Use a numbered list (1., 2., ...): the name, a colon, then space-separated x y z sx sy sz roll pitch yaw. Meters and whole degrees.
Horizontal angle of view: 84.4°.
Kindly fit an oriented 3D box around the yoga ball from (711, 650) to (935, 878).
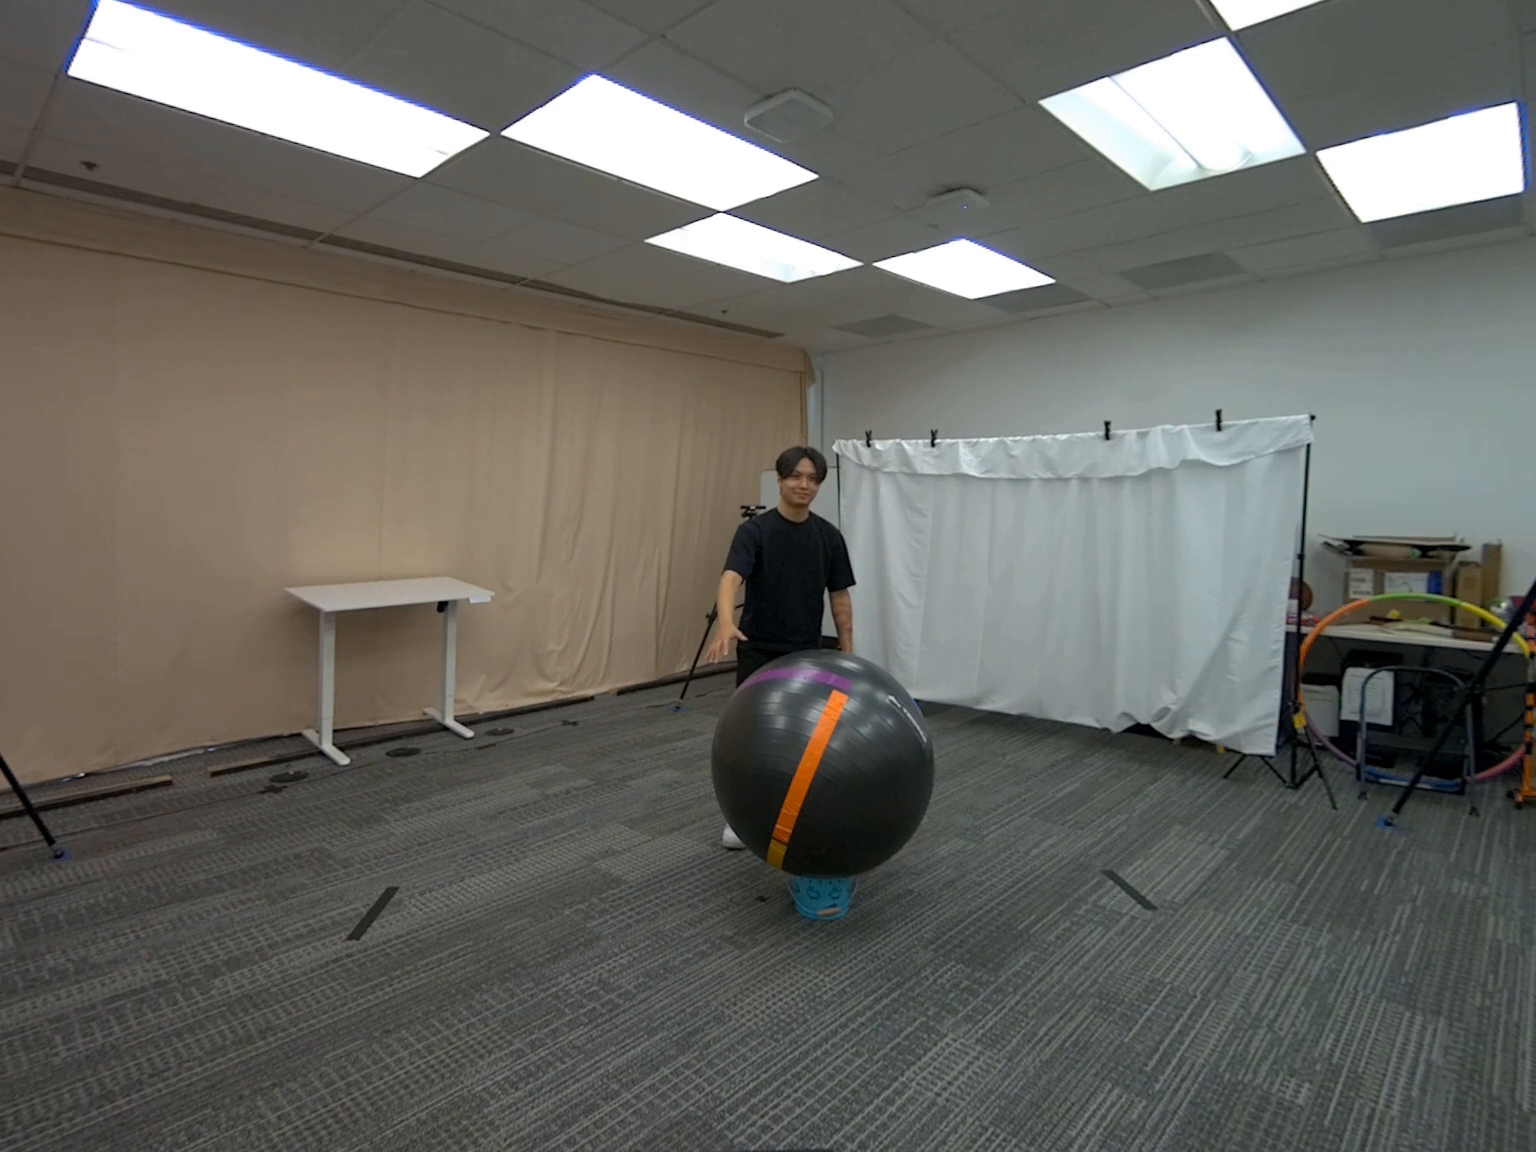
1. yoga ball: 0.184 0.641 2.889 0.757 0.756 0.760 0 4 -2
